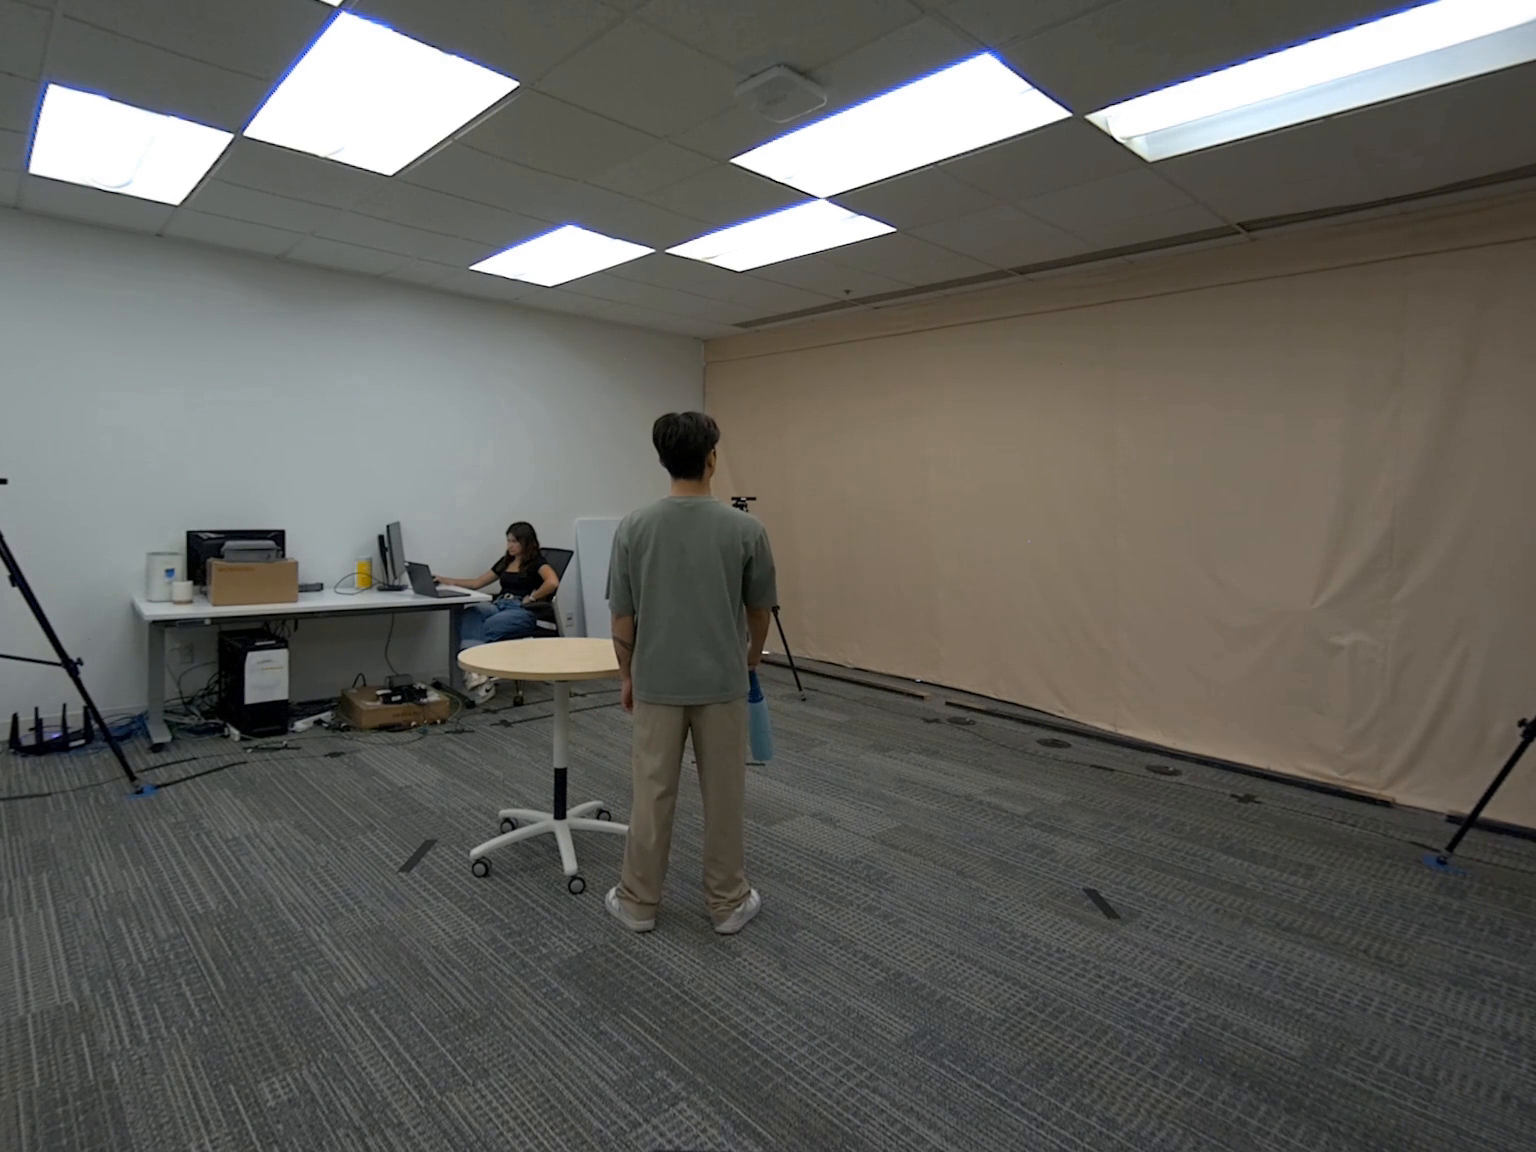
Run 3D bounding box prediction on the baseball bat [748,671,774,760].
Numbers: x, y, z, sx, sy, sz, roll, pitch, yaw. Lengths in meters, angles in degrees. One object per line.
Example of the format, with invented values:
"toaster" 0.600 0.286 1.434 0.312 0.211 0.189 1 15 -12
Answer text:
"baseball bat" -0.050 0.396 3.151 0.089 0.534 0.090 -8 21 2
